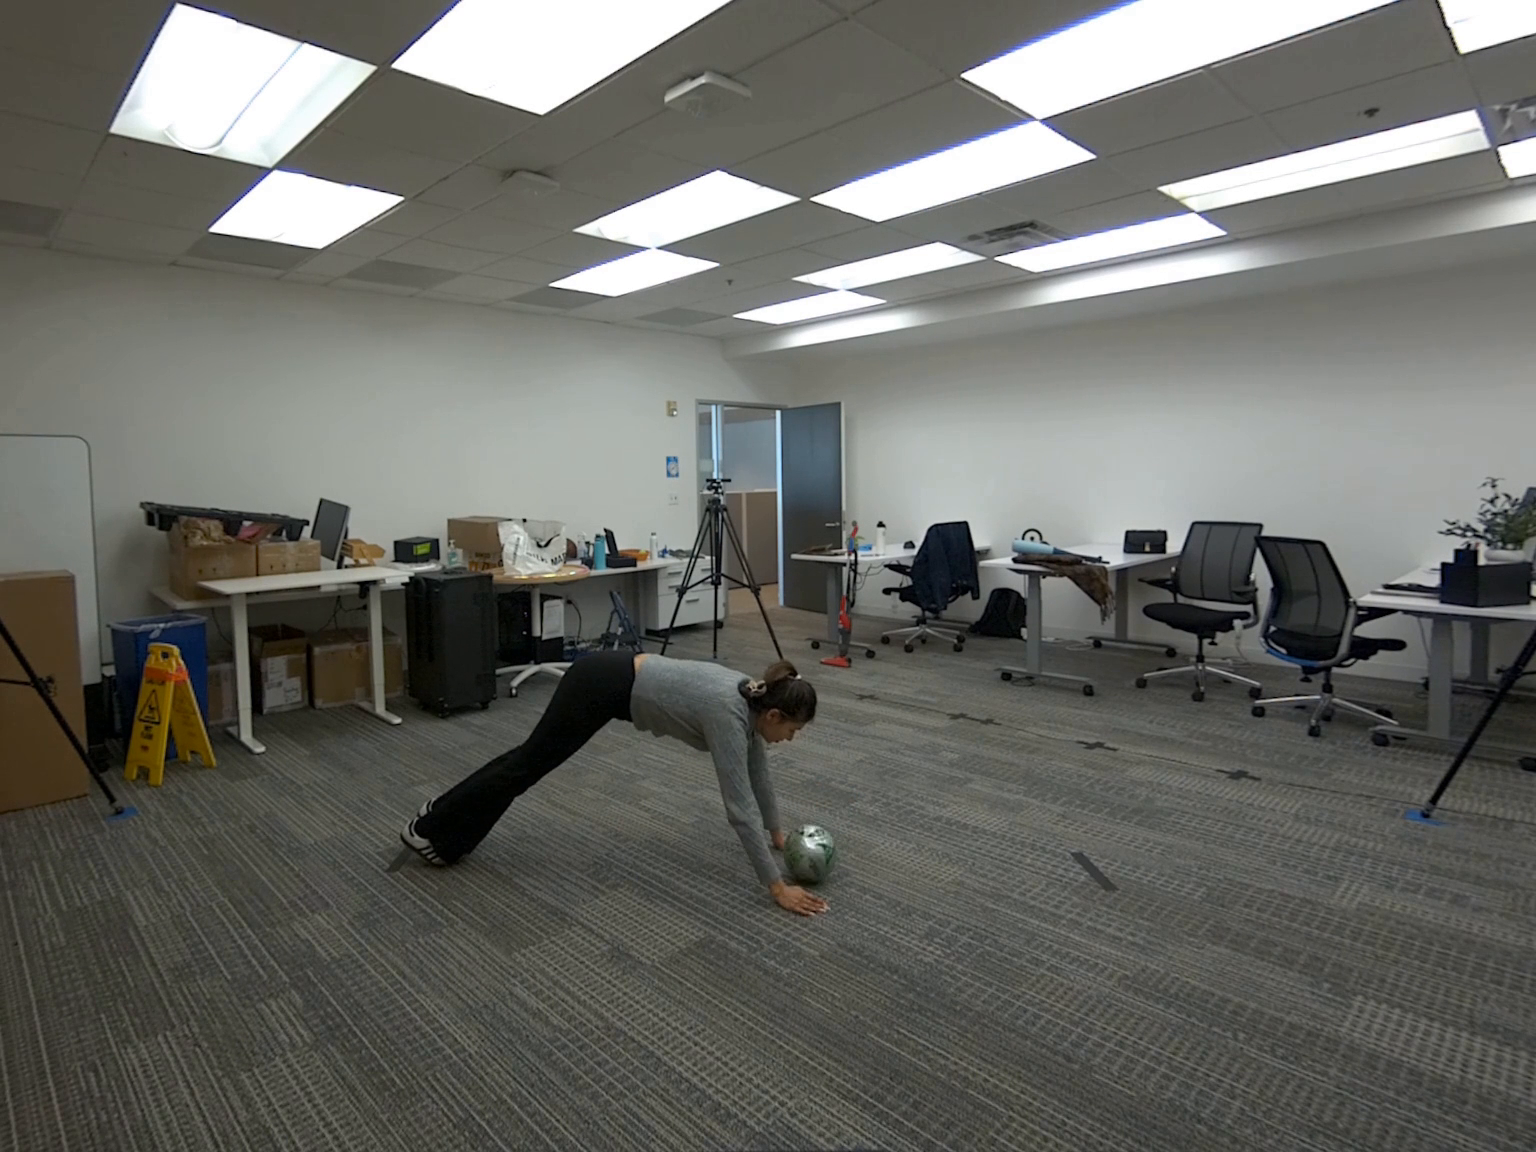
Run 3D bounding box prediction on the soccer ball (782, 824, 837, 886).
[{"bbox_3d":[0.143,0.953,2.961,0.187,0.187,0.188,-1,5,-2],"label":"soccer ball"}]
